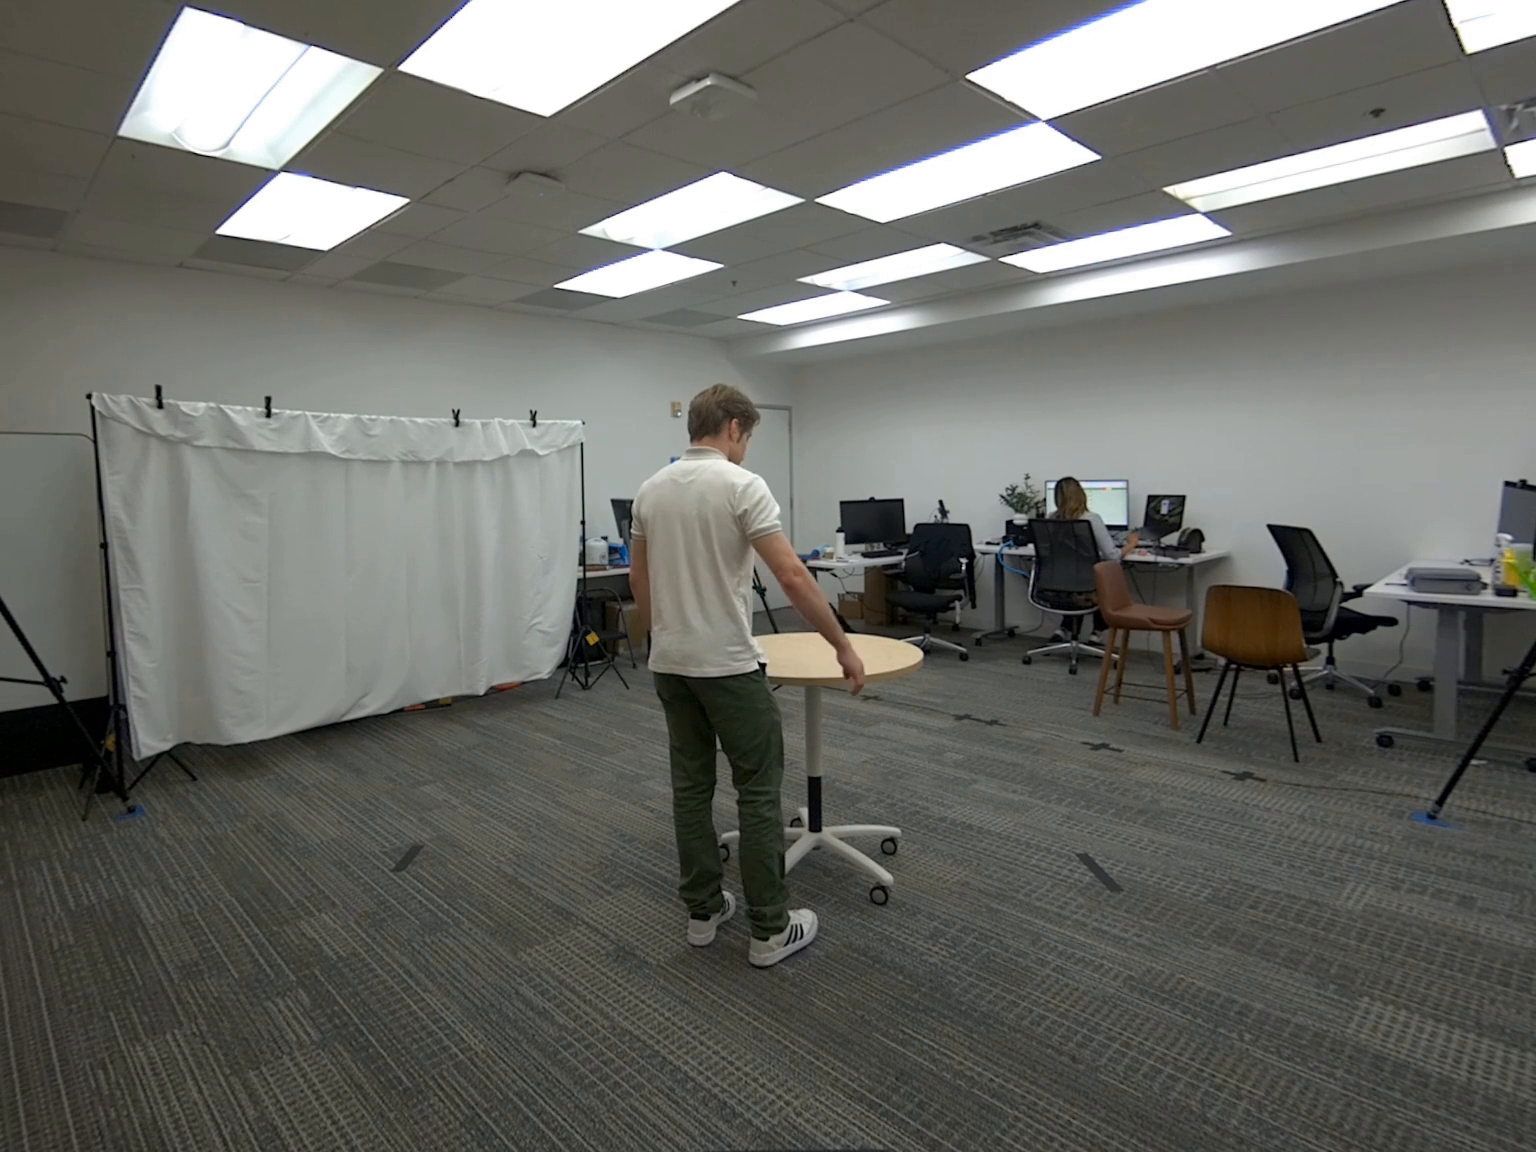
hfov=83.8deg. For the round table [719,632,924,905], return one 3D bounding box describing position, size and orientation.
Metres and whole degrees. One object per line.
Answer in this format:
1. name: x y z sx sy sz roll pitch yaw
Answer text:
1. round table: 0.180 0.656 3.047 0.784 0.783 0.789 -2 5 -2
